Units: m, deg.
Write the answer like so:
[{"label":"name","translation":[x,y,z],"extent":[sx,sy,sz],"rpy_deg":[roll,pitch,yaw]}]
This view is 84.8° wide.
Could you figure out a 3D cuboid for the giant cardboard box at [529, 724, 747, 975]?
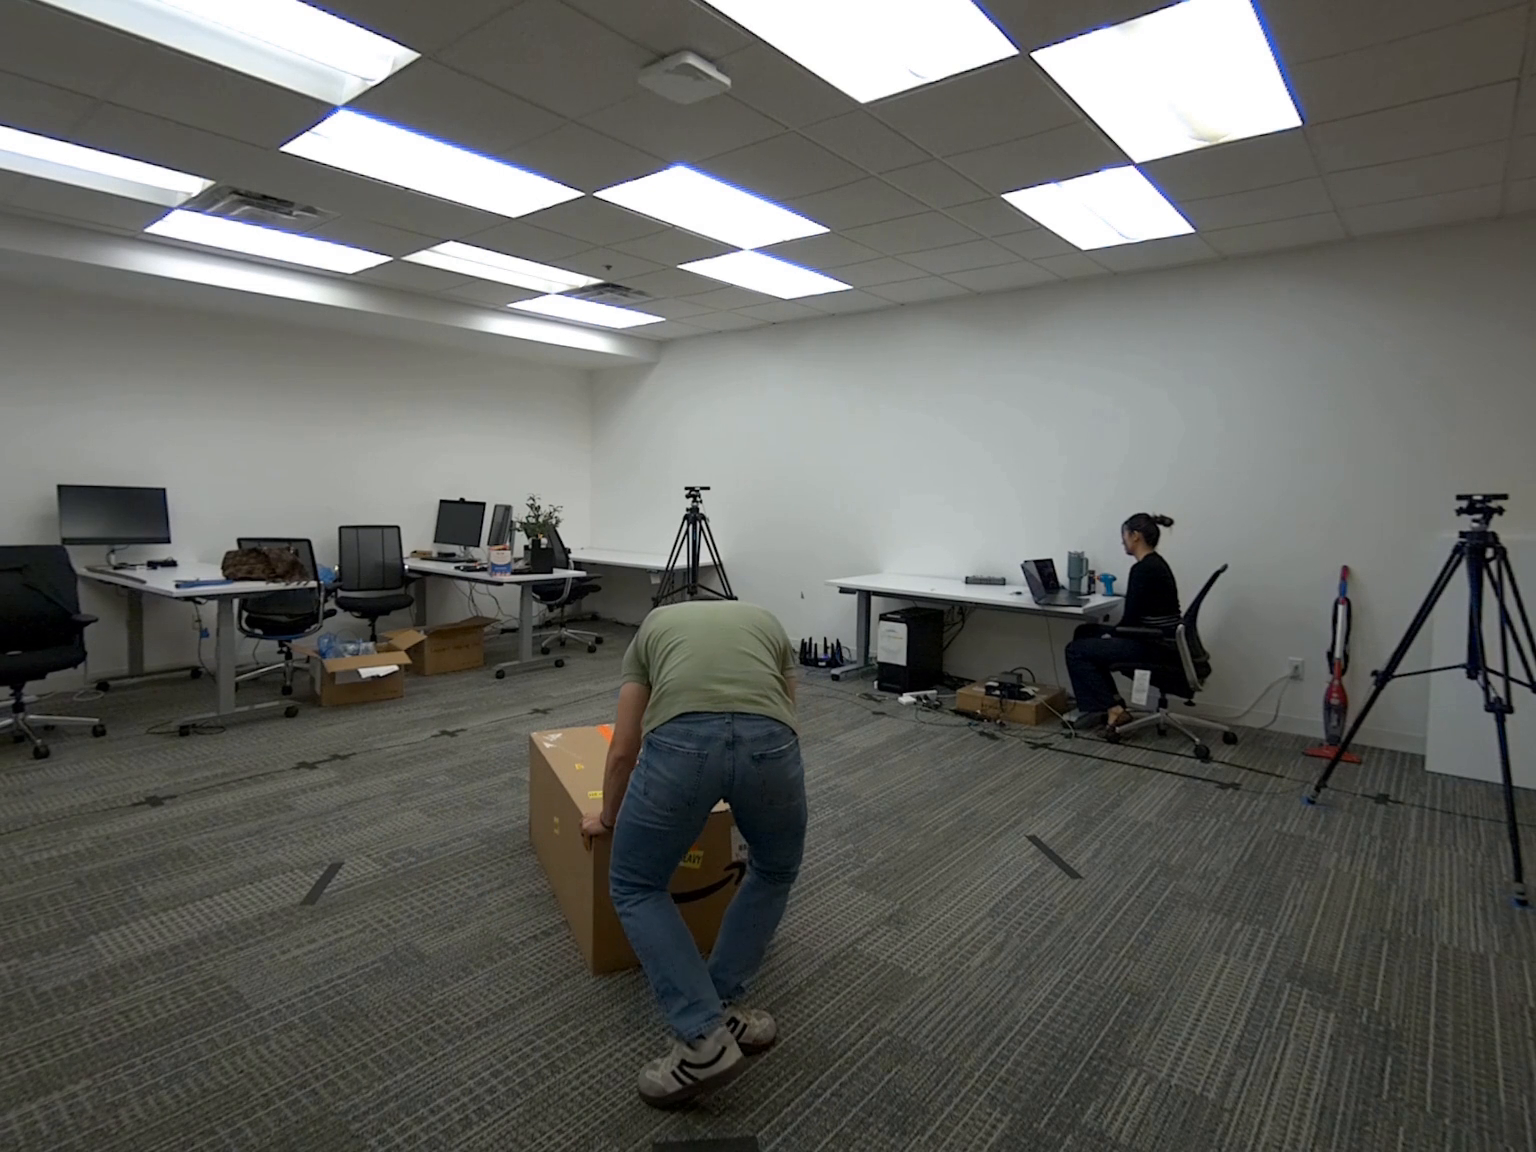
[{"label":"giant cardboard box","translation":[-0.471,0.861,2.978],"extent":[0.564,0.424,1.054],"rpy_deg":[-2,6,-25]}]
